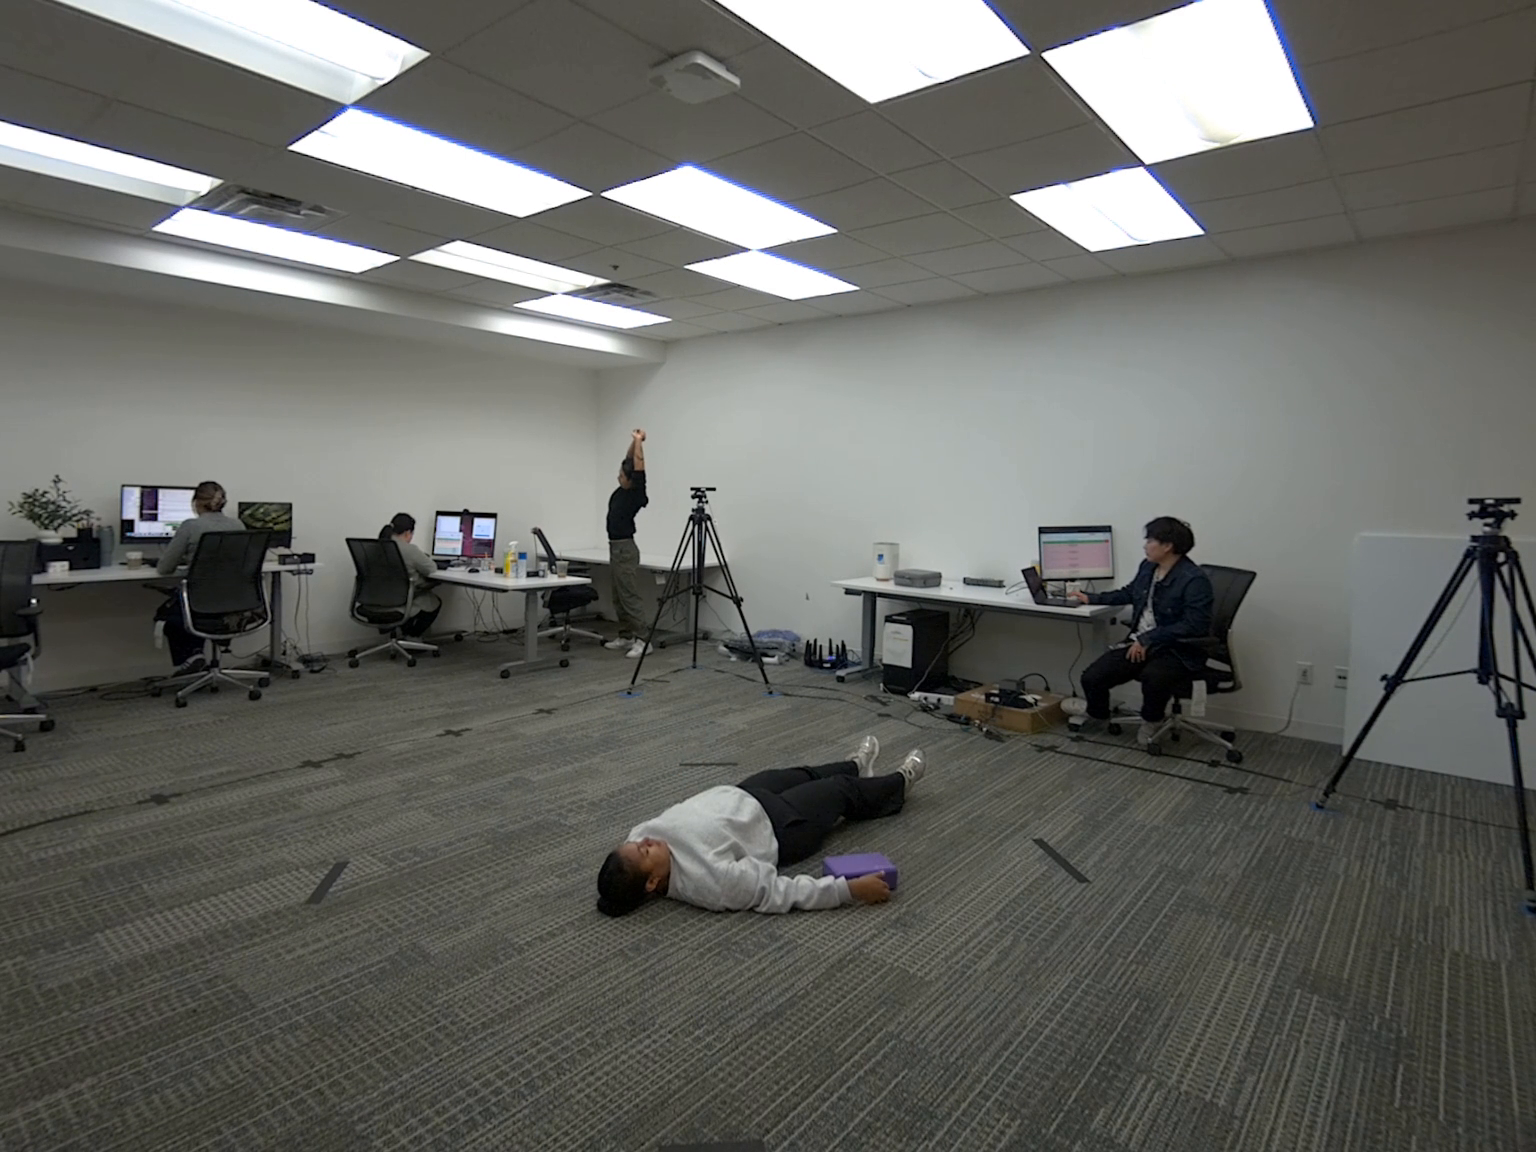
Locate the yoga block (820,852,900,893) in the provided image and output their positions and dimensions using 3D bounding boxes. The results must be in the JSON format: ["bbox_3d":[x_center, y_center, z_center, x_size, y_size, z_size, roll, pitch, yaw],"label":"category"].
[{"bbox_3d":[0.323,1.050,3.008,0.225,0.076,0.152,0,5,-18],"label":"yoga block"}]
